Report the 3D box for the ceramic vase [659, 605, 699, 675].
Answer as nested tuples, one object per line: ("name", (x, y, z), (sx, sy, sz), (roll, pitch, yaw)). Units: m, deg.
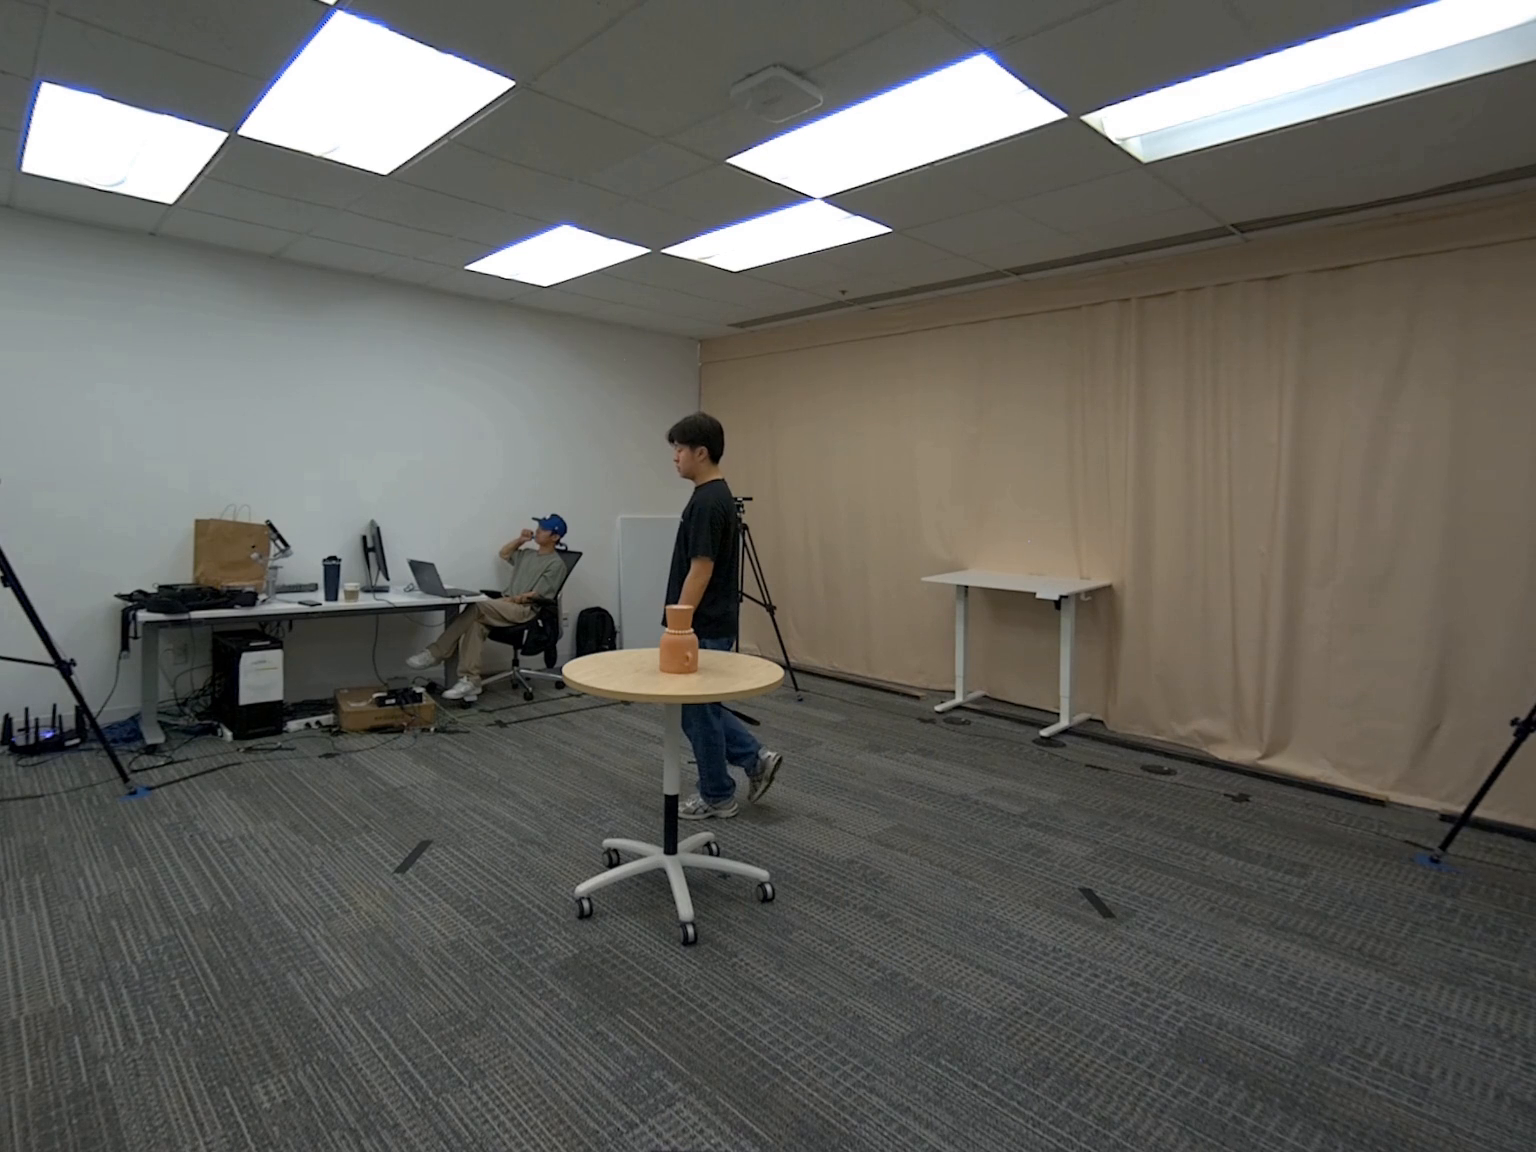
("ceramic vase", (-0.319, 0.215, 2.902), (0.161, 0.219, 0.133), (1, 3, 17))
